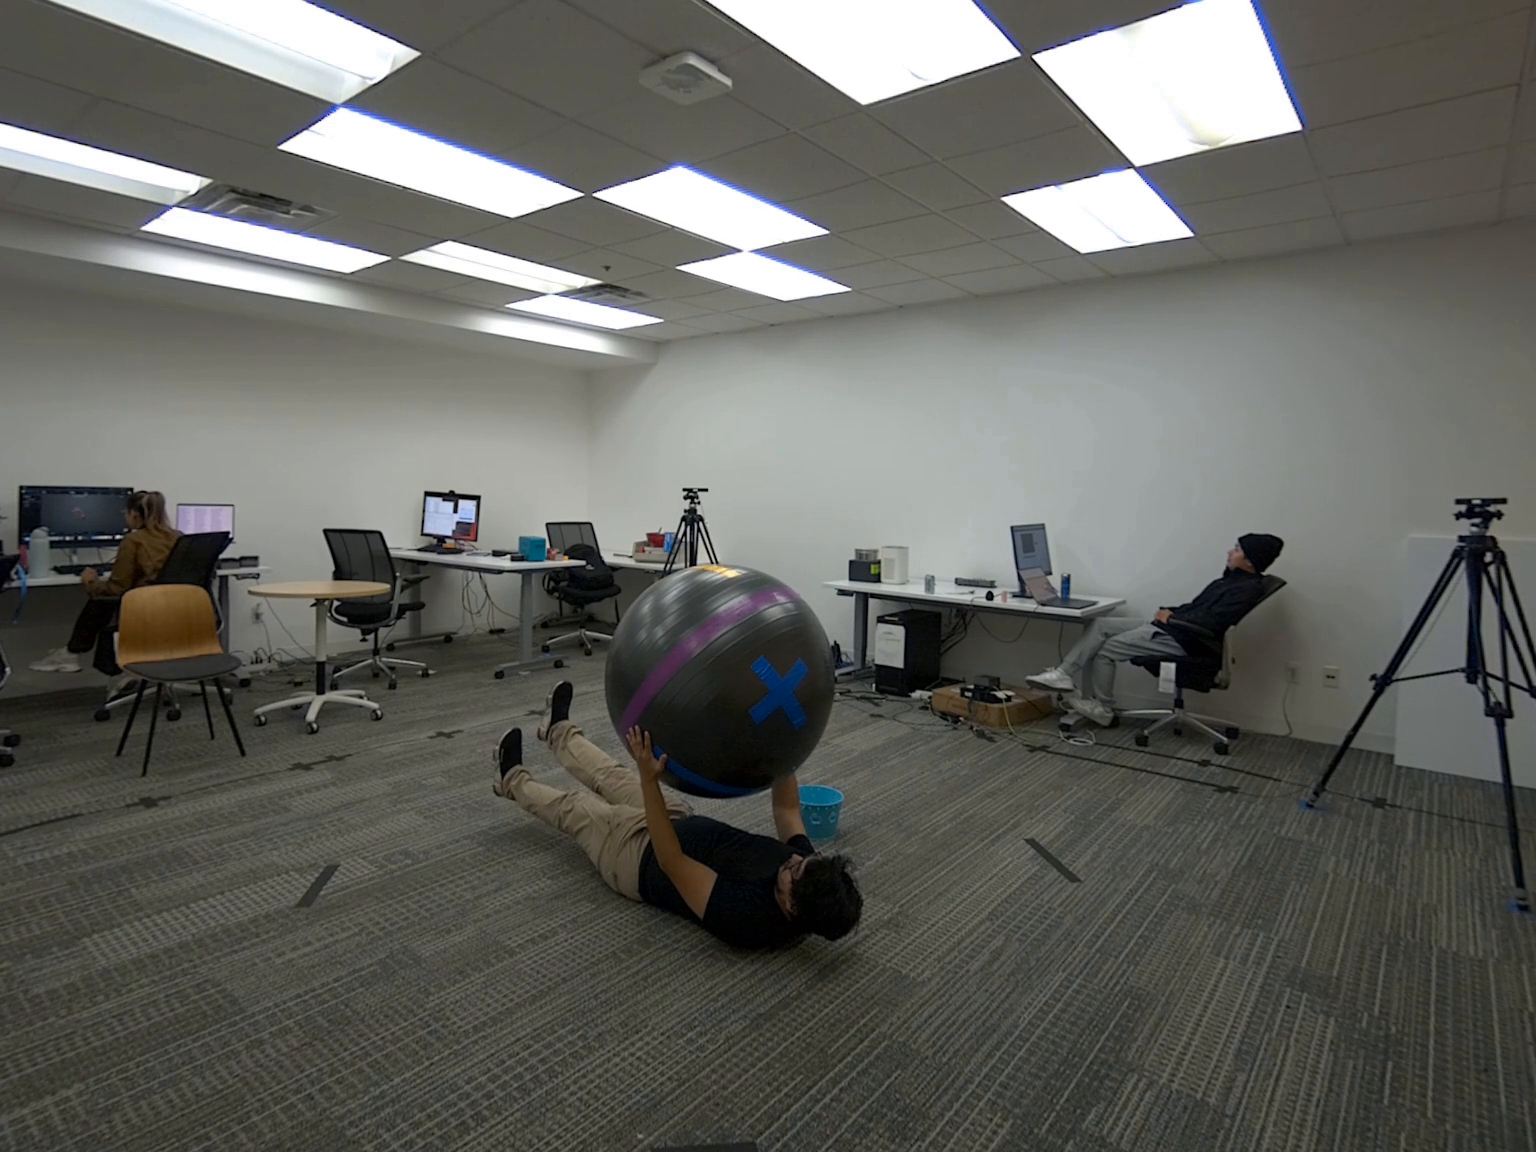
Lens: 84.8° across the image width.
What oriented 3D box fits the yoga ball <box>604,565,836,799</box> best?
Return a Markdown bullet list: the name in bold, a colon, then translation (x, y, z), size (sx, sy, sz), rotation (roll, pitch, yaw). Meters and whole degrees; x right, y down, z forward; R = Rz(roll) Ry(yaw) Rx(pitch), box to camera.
- **yoga ball**: translation (-0.169, 0.345, 2.803), size (0.757, 0.756, 0.761), rotation (0, 4, -2)
